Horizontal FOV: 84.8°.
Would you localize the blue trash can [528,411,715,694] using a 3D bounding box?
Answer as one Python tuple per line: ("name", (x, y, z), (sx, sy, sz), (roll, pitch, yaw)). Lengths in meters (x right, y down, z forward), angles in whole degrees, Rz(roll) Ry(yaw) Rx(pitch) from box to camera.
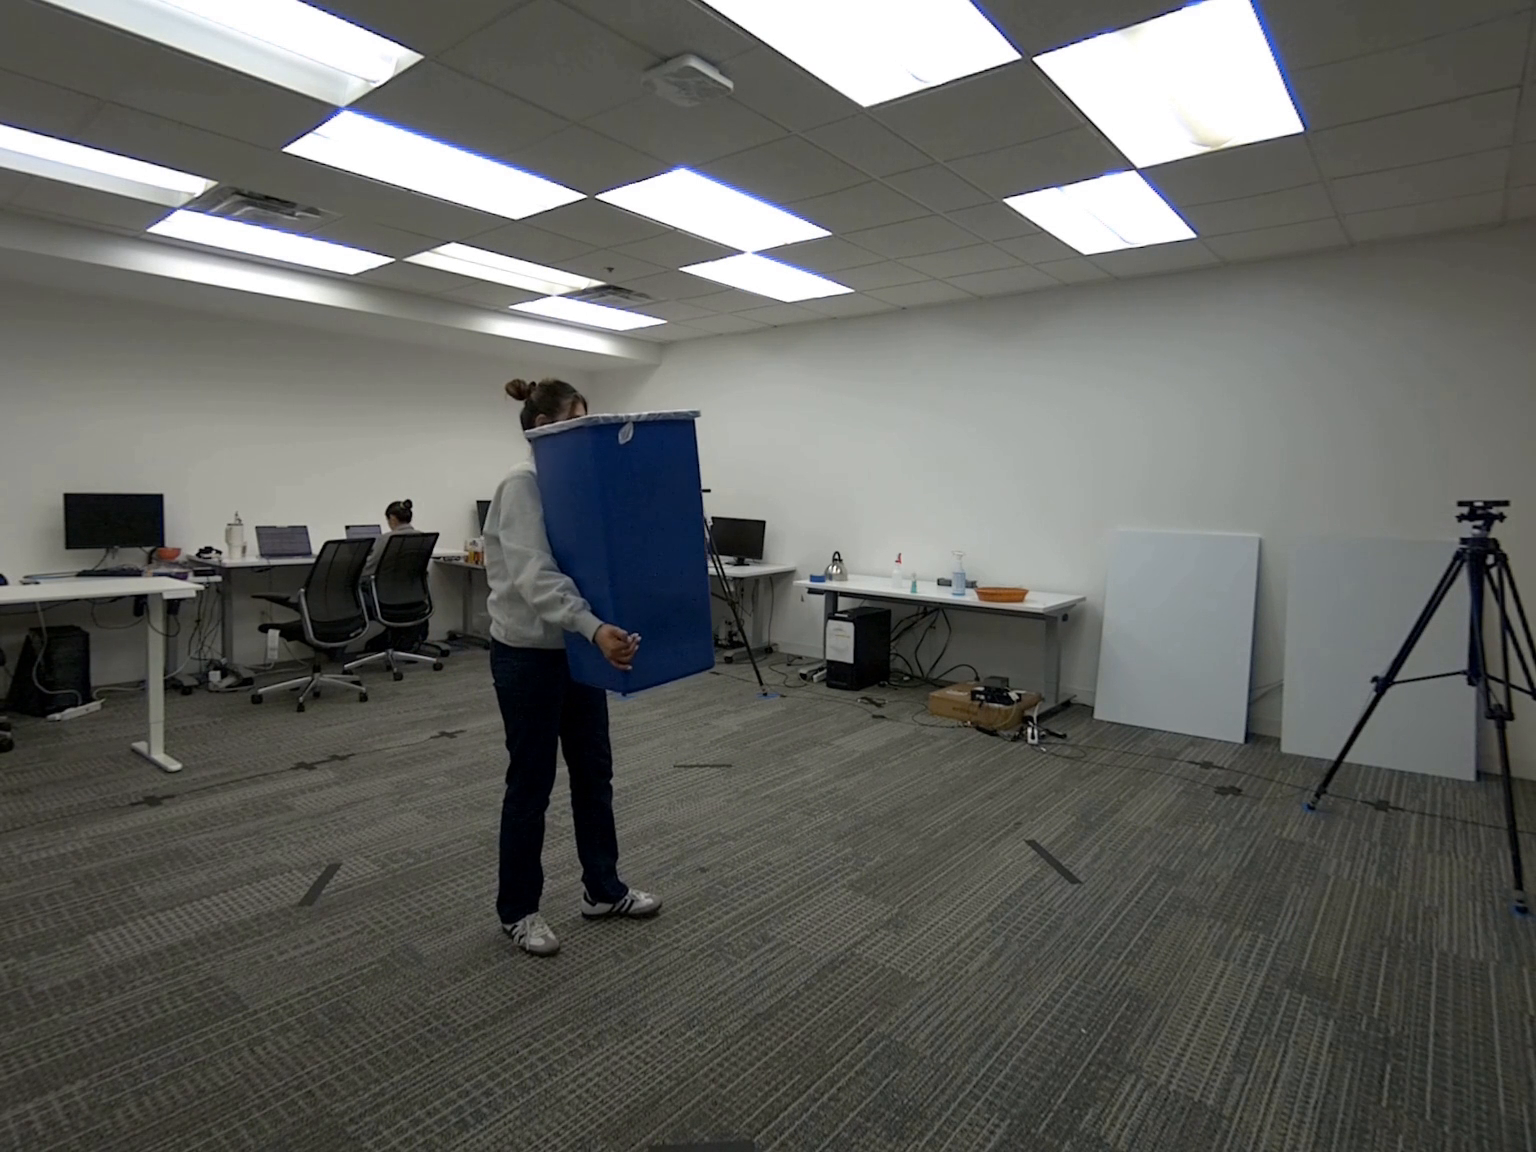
("blue trash can", (-0.402, -0.080, 2.360), (0.368, 0.710, 0.386), (-10, 7, -41))
